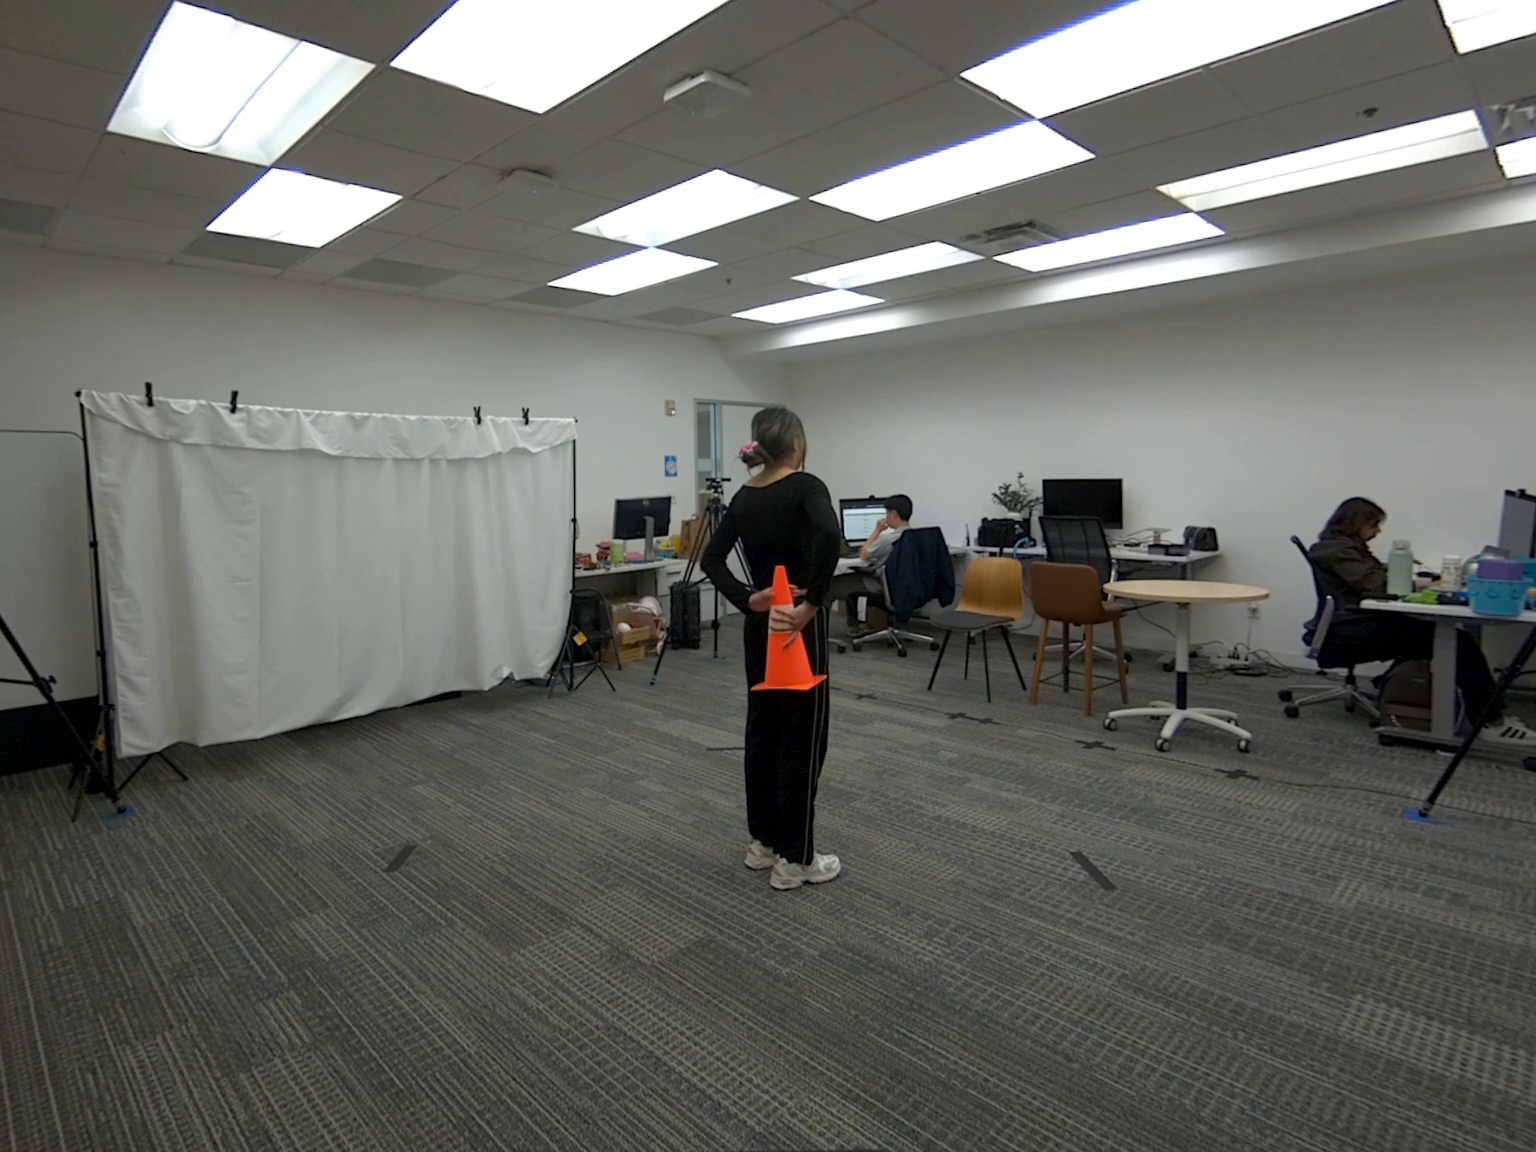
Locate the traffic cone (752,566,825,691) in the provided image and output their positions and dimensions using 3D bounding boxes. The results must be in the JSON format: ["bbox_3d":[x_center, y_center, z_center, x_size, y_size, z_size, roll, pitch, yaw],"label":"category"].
[{"bbox_3d":[0.063,0.166,2.767,0.210,0.383,0.198,-3,2,33],"label":"traffic cone"}]
